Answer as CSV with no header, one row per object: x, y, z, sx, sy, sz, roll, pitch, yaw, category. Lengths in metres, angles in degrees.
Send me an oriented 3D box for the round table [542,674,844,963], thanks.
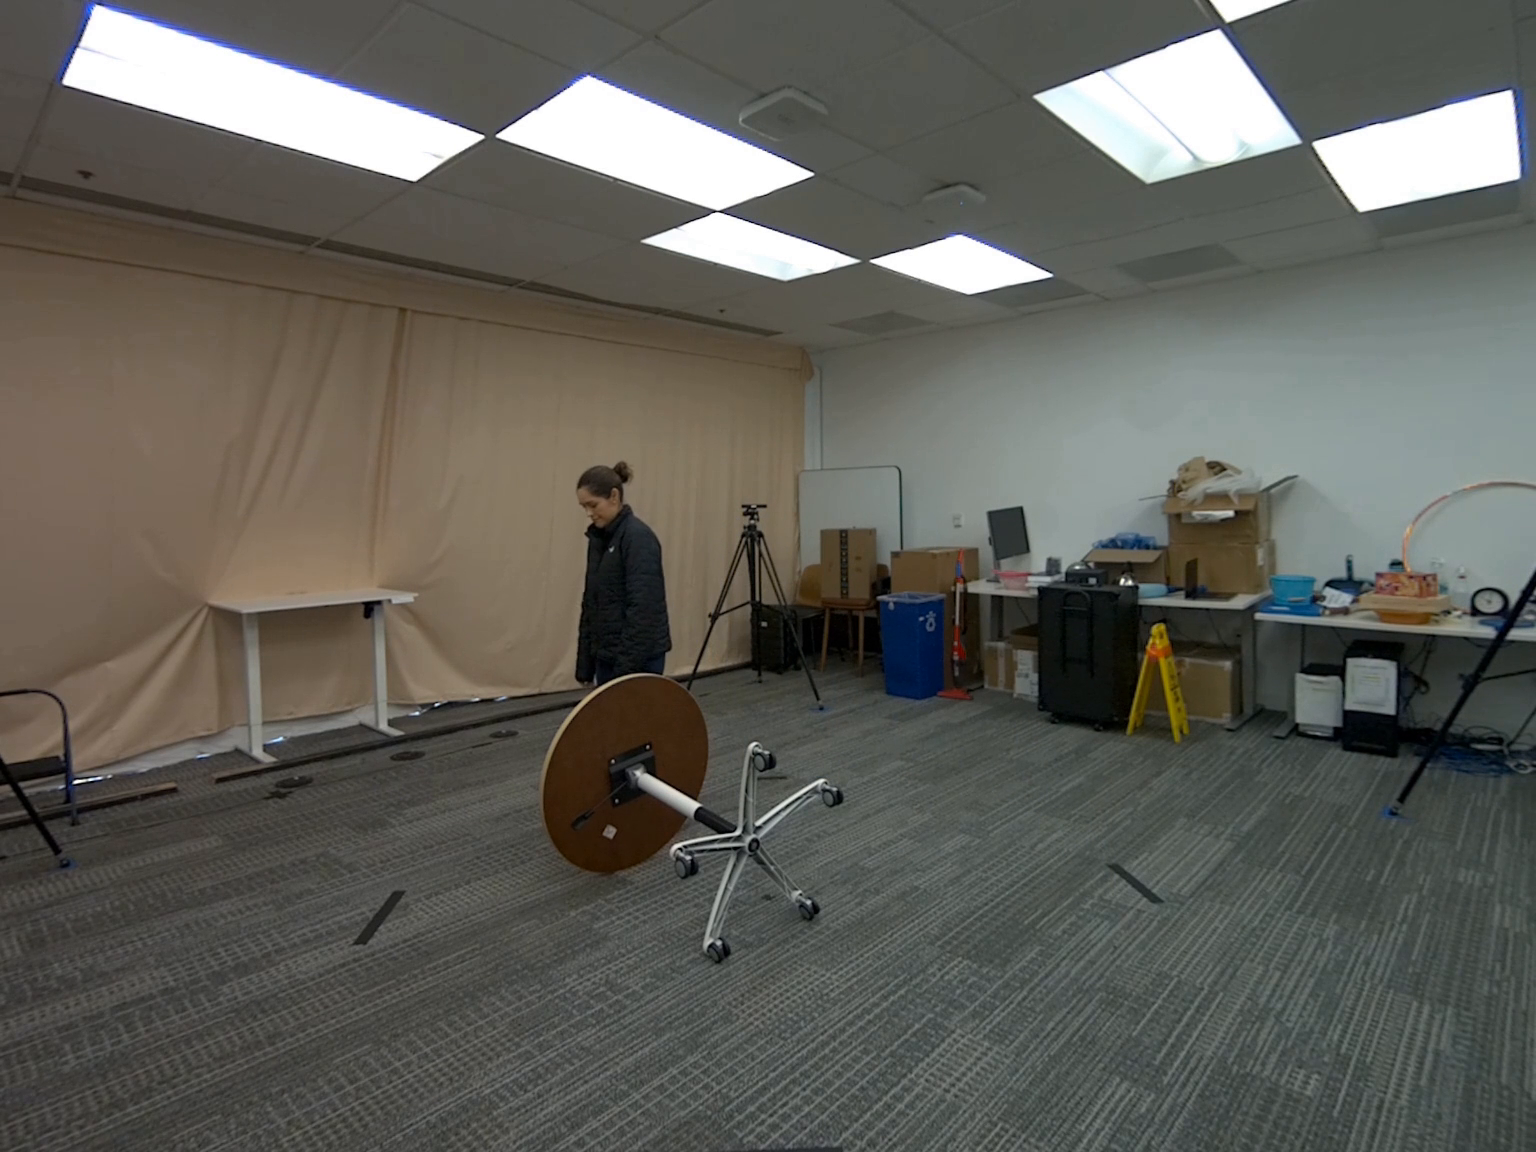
-0.248,0.812,2.921,0.761,0.782,0.814,-4,10,-42,round table
